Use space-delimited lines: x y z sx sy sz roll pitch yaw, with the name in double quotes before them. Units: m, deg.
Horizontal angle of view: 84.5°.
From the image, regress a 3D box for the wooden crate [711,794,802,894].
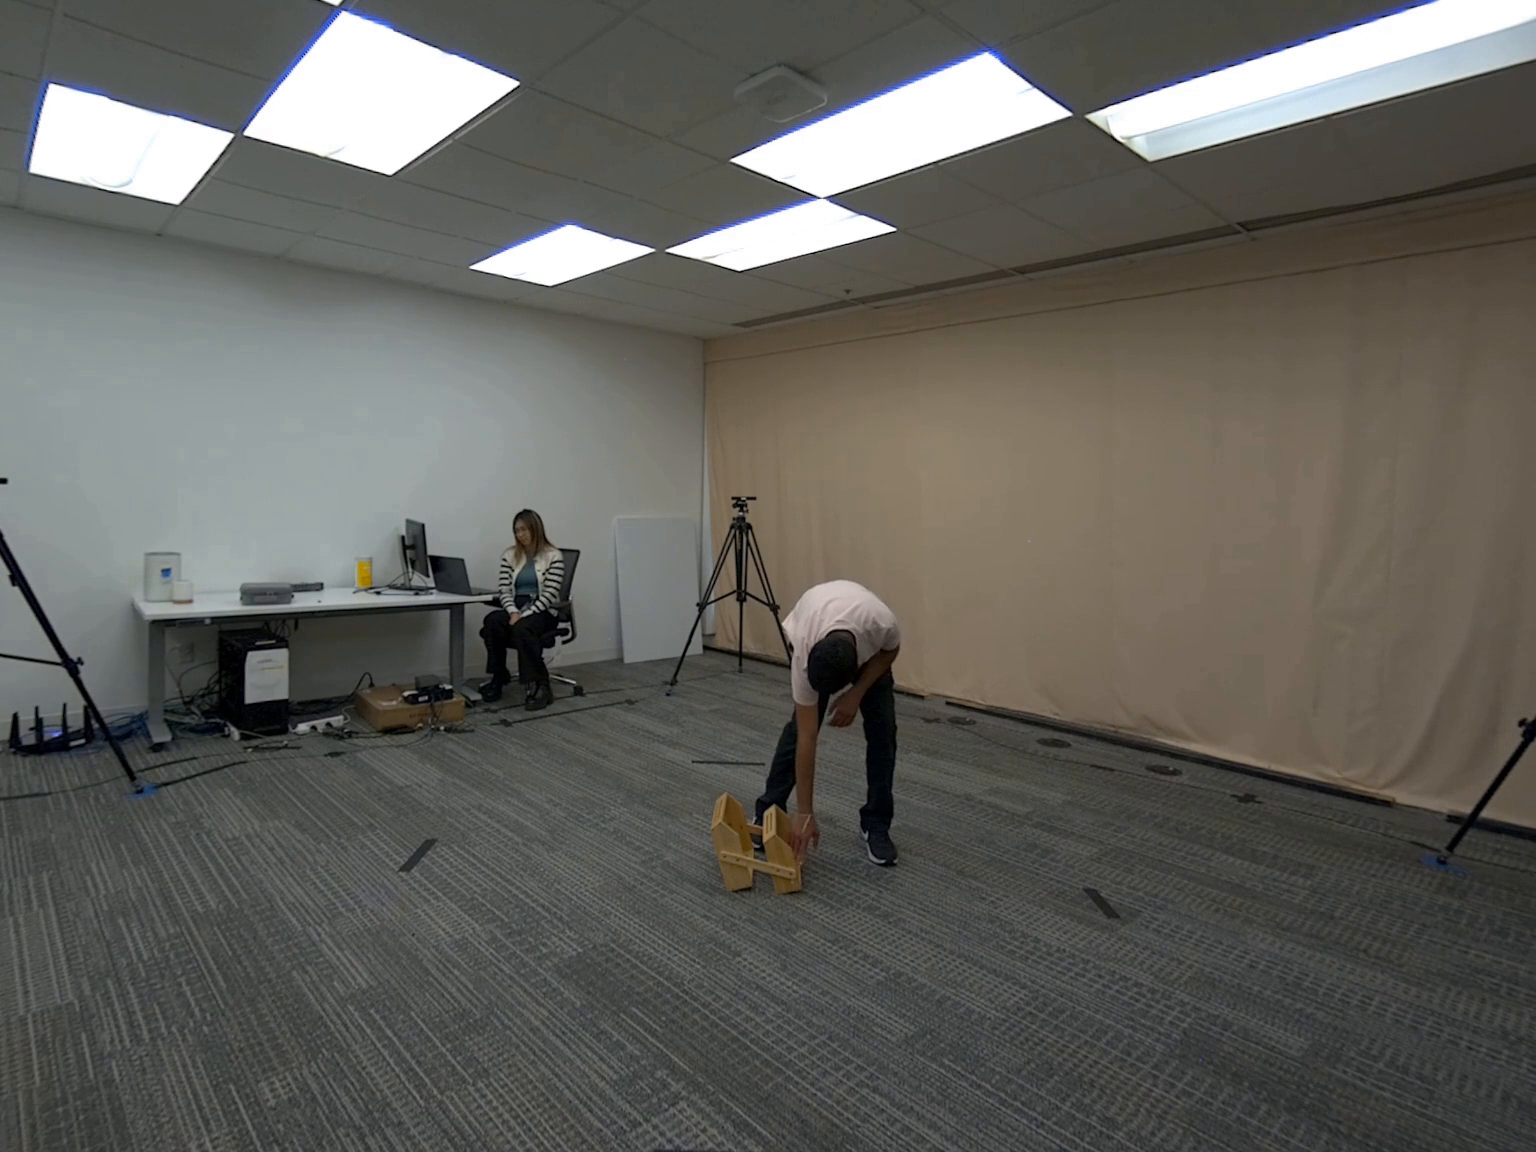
"wooden crate" -0.048 0.974 3.111 0.274 0.301 0.325 -16 4 2
